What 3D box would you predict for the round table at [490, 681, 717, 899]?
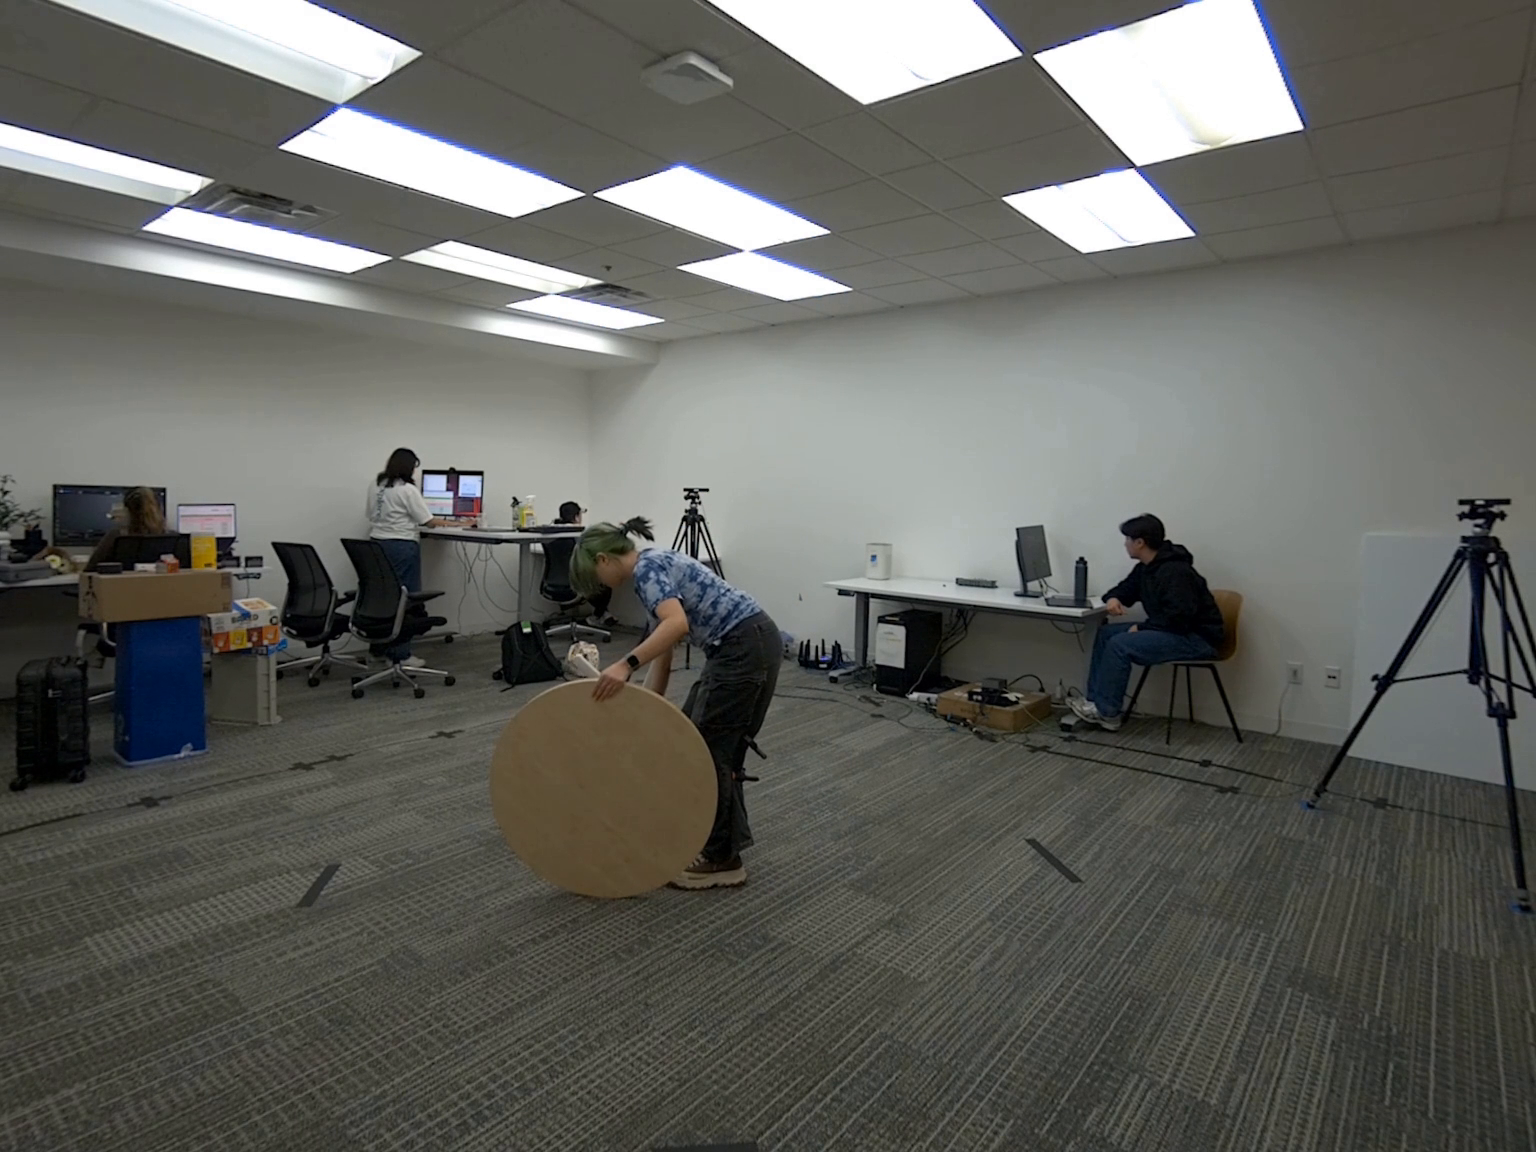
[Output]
[{"bbox_3d":[-0.553,0.635,3.211,0.766,0.757,0.799,1,11,2],"label":"round table"}]
